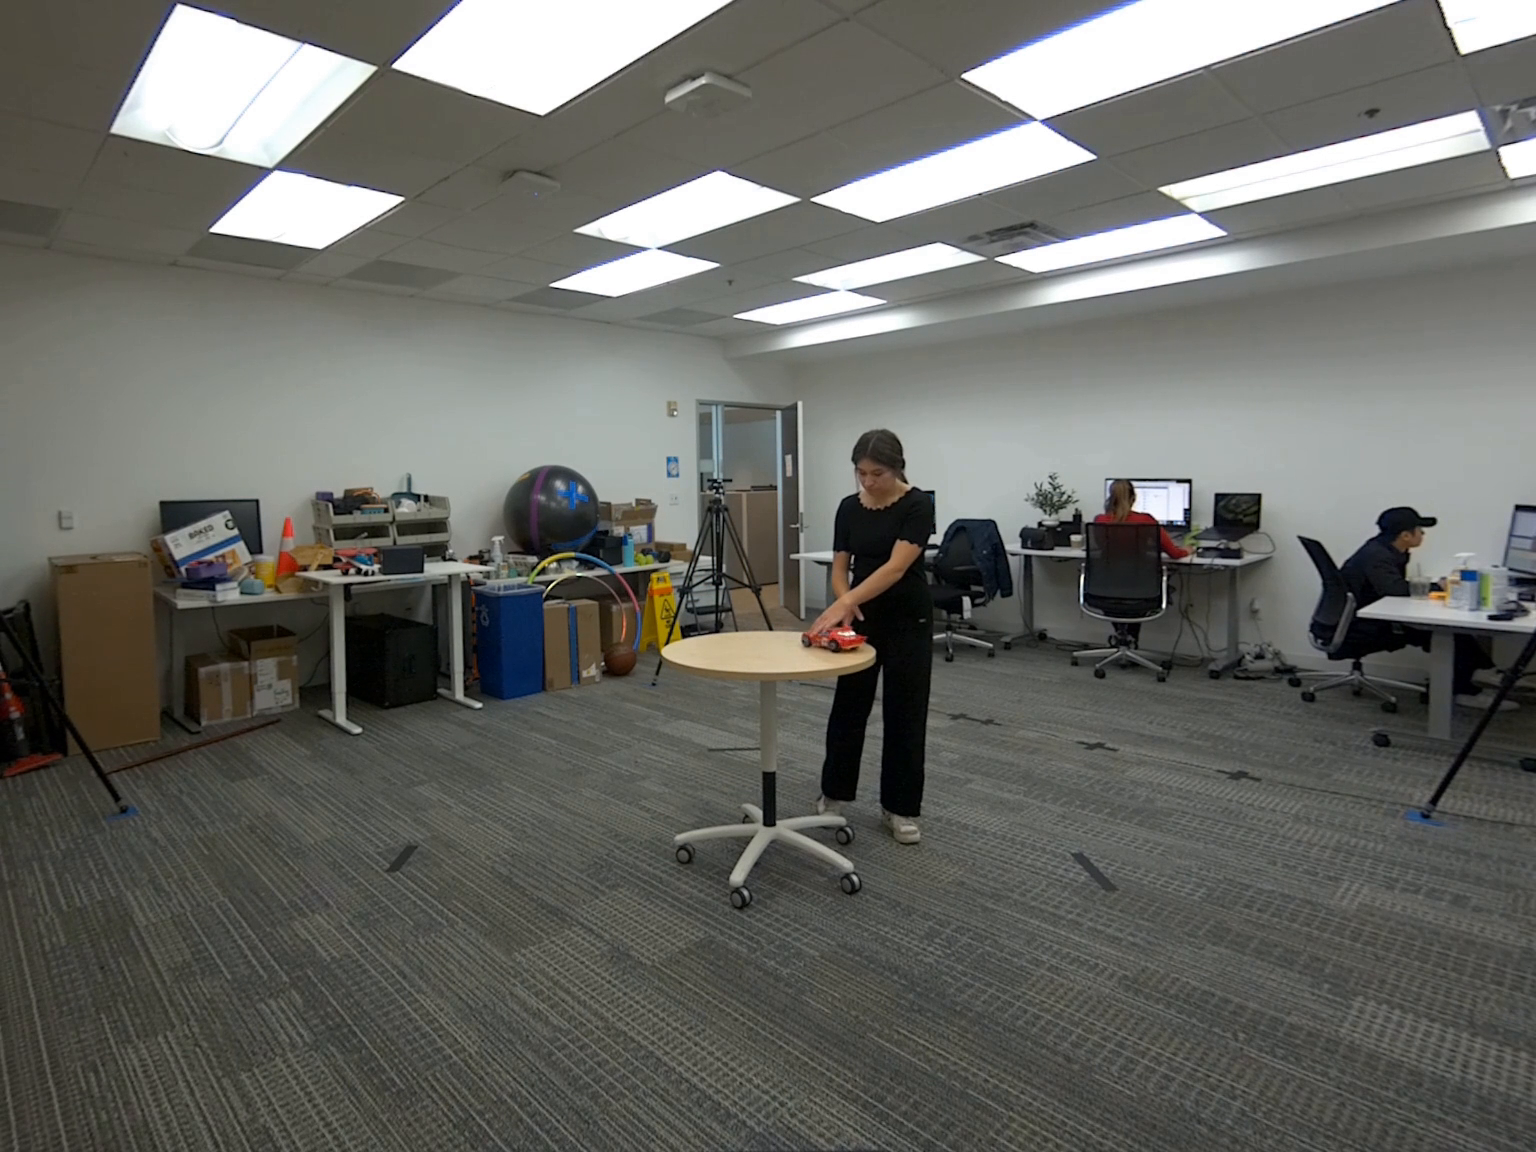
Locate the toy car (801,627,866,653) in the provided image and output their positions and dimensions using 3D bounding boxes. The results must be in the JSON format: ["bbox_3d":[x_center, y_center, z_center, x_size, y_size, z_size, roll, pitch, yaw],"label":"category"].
[{"bbox_3d":[0.238,0.232,3.065,0.127,0.083,0.260,-5,-3,-39],"label":"toy car"}]
